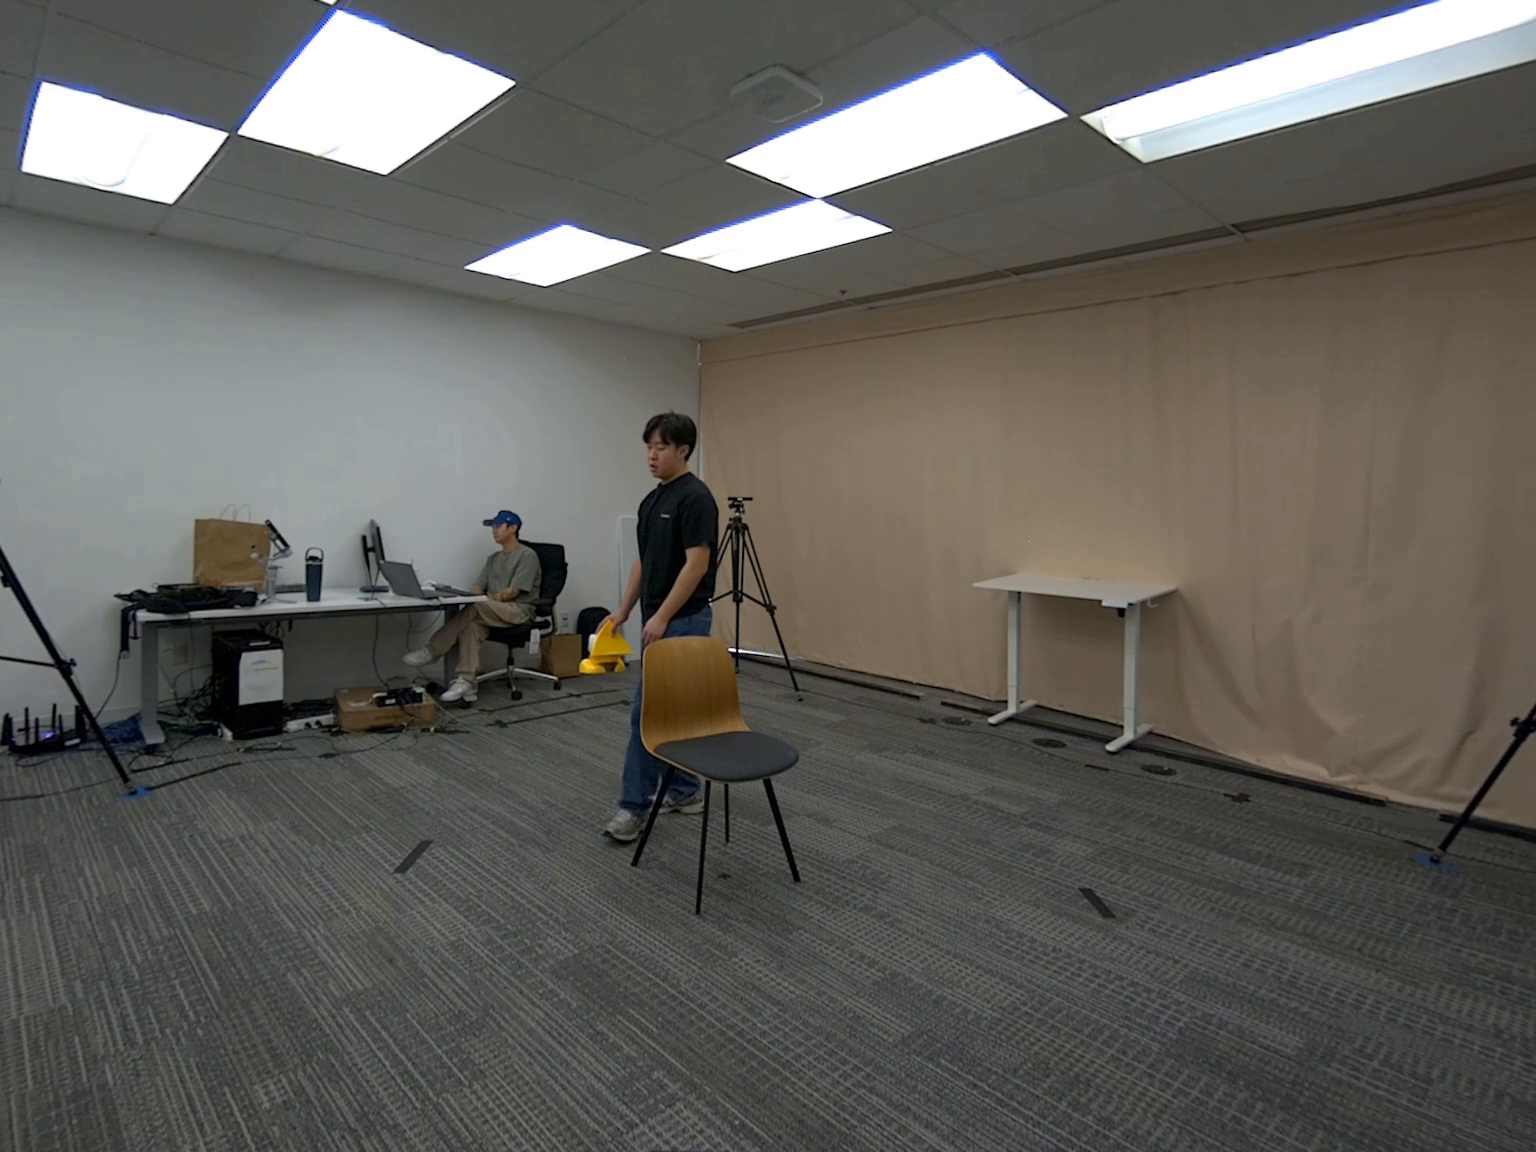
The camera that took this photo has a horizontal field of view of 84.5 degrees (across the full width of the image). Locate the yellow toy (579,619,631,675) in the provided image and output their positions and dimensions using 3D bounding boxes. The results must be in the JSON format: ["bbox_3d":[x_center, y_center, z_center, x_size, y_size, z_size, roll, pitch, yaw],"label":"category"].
[{"bbox_3d":[-0.748,0.312,3.802,0.200,0.231,0.197,1,-3,-37],"label":"yellow toy"}]
